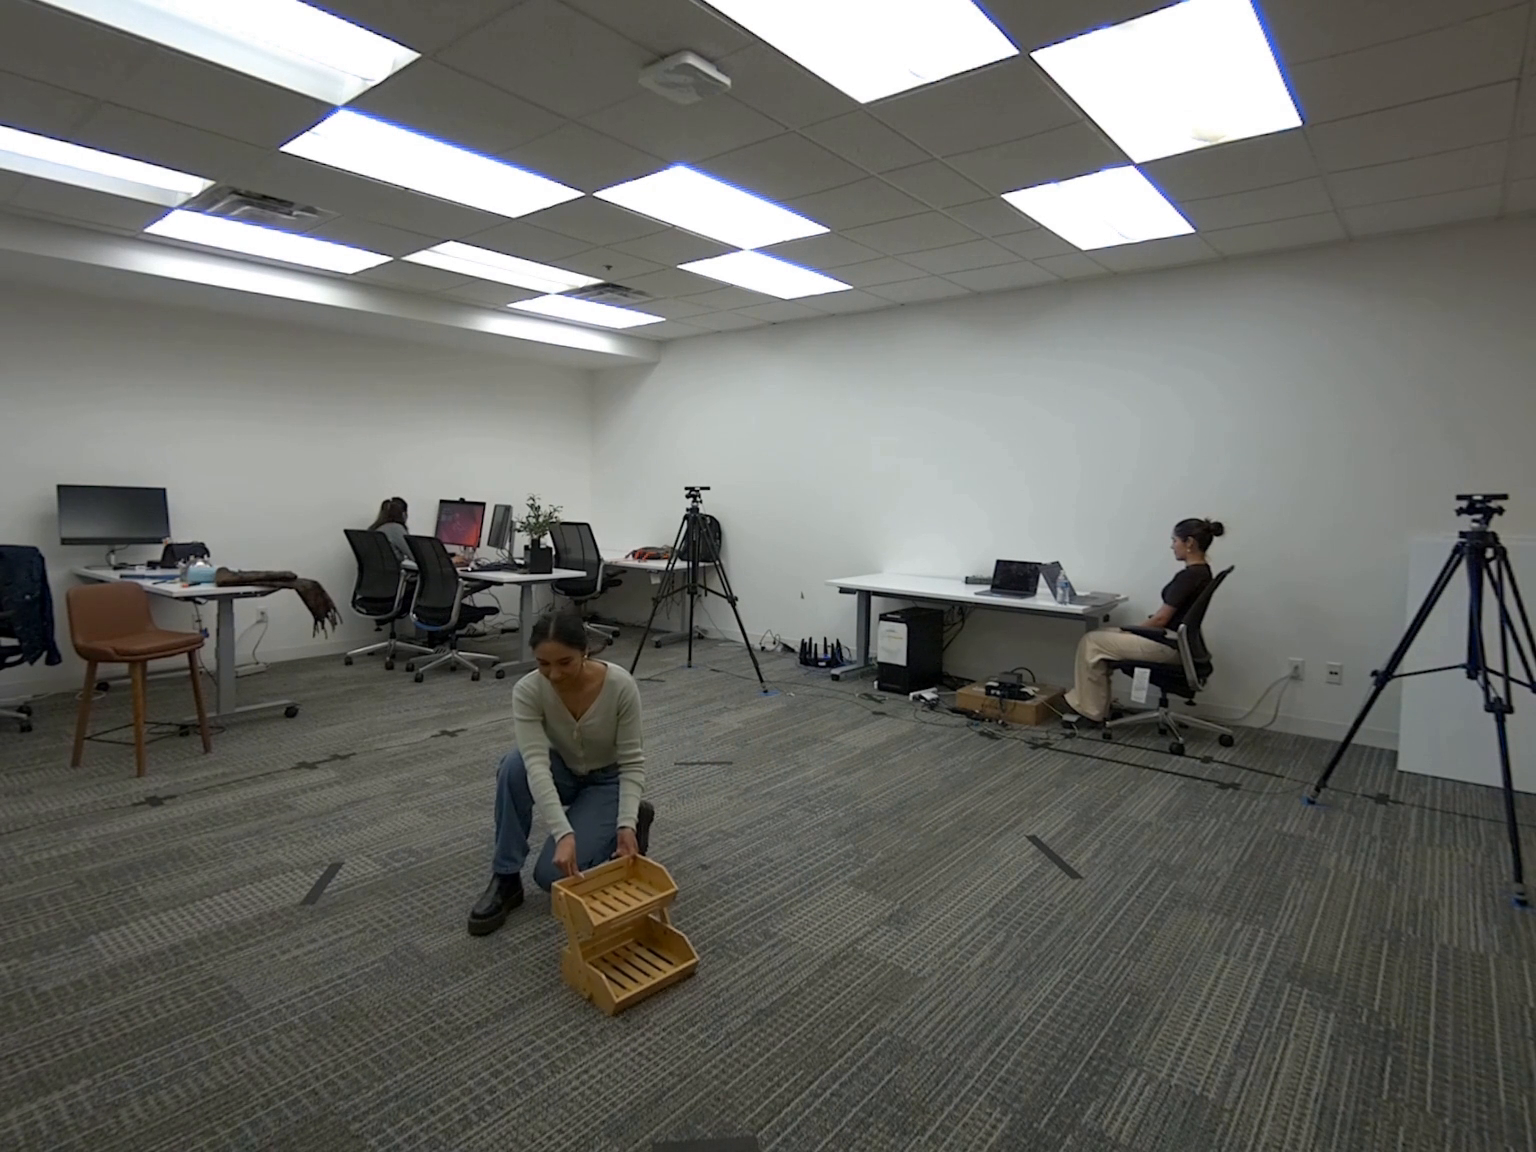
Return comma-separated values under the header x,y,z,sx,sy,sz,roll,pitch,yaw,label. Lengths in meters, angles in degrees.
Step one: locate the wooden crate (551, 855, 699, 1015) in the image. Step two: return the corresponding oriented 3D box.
x,y,z,sx,sy,sz,roll,pitch,yaw,label
-0.410,0.998,2.416,0.312,0.272,0.315,4,6,44,wooden crate
